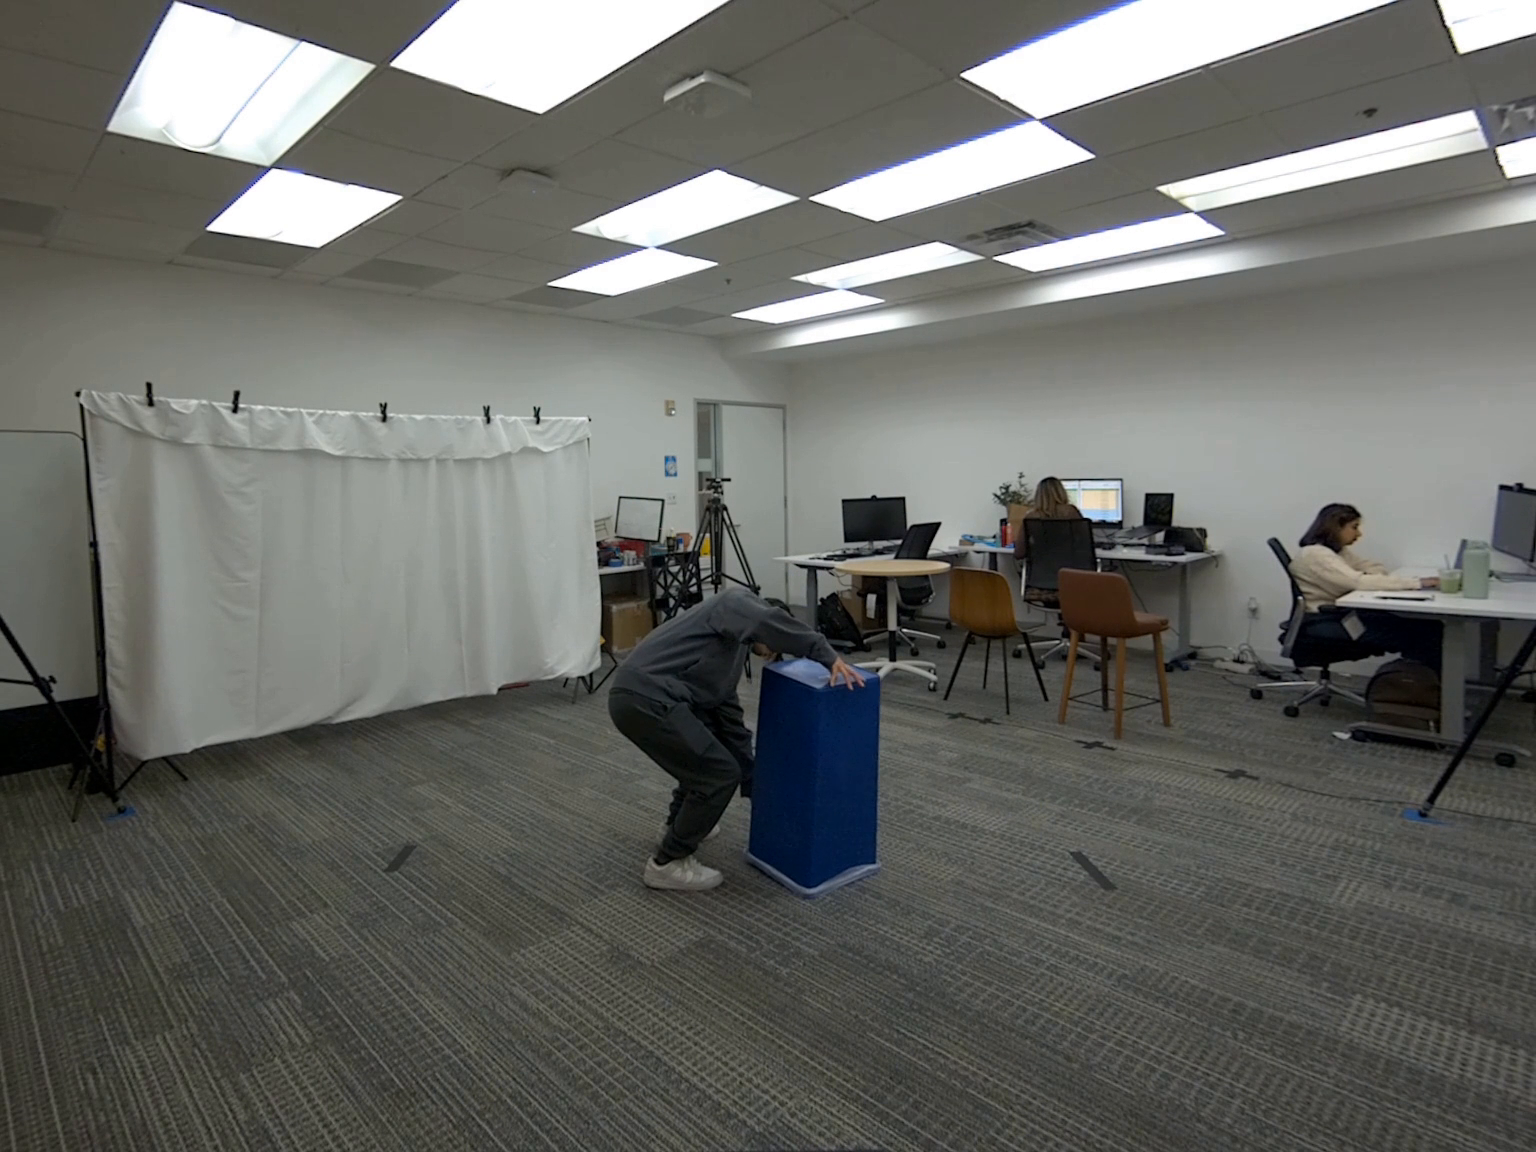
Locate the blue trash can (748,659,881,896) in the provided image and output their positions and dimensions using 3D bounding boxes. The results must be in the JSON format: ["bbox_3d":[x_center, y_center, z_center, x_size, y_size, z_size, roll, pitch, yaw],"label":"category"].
[{"bbox_3d":[0.174,0.684,3.026,0.368,0.709,0.387,-3,10,-37],"label":"blue trash can"}]
